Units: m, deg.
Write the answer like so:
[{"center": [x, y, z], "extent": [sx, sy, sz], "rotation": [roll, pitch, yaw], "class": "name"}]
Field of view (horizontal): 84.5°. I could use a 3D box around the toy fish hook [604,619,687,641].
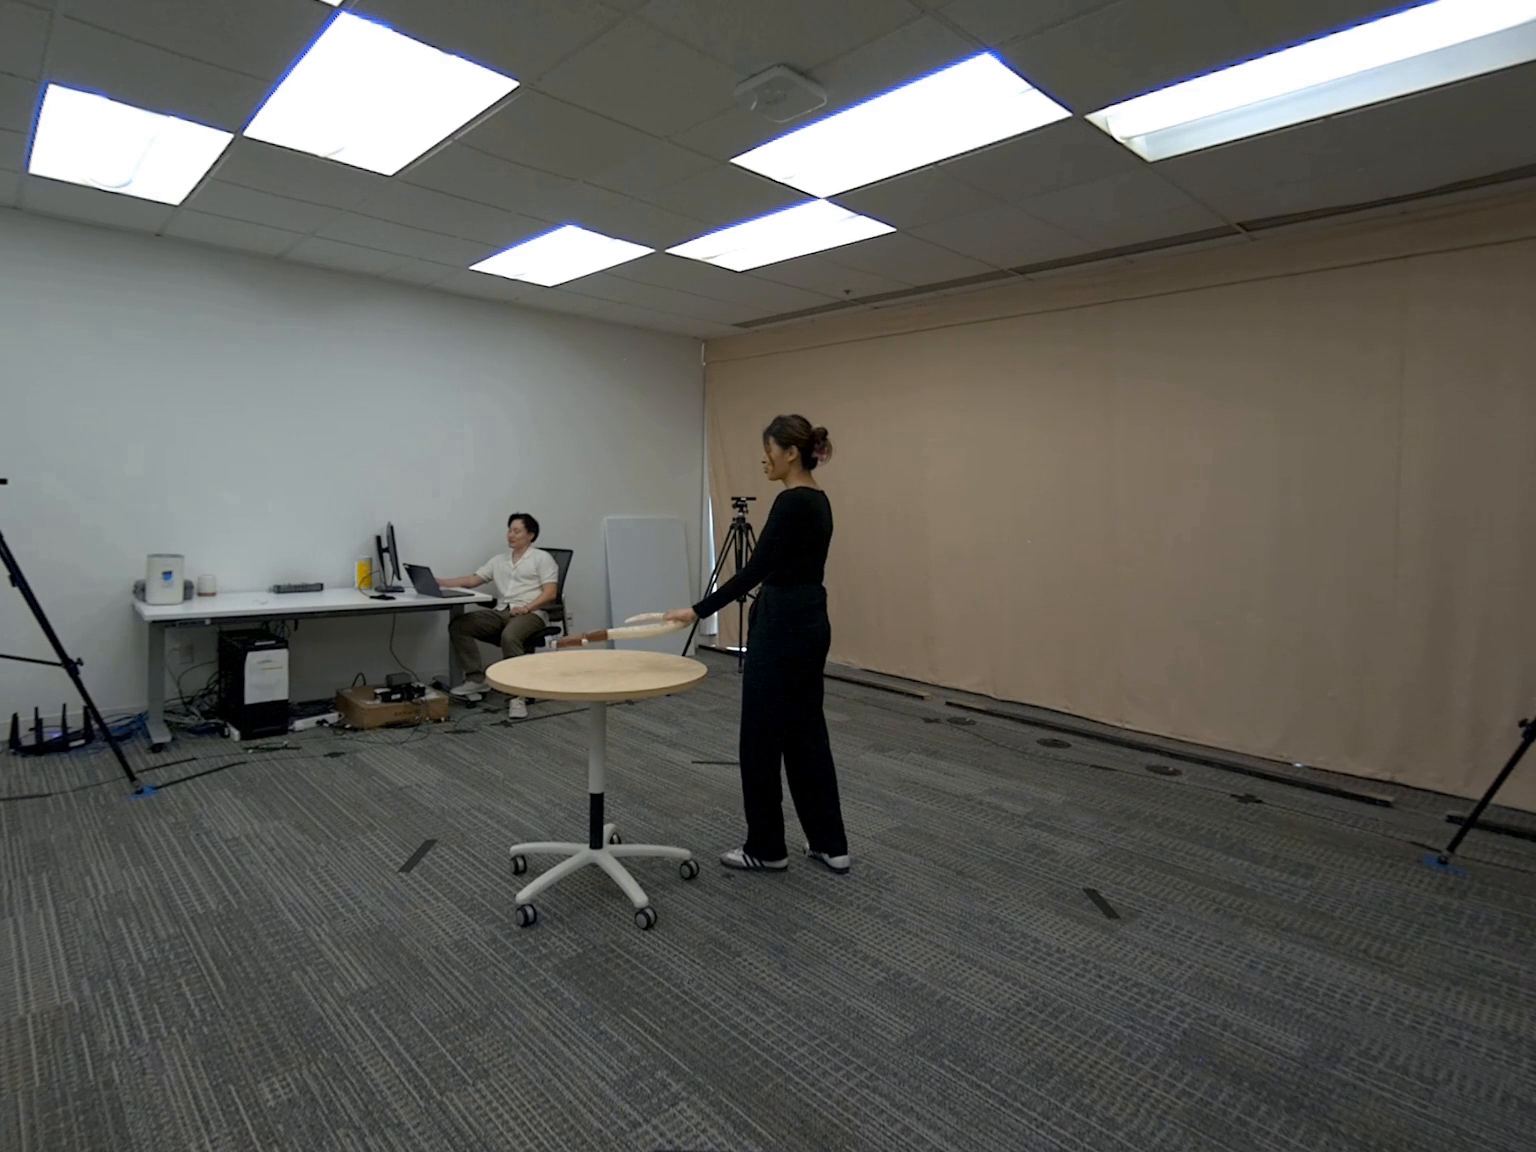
[{"center": [-0.532, 0.197, 2.996], "extent": [0.499, 0.048, 0.229], "rotation": [-7, 8, -21], "class": "toy fish hook"}]
